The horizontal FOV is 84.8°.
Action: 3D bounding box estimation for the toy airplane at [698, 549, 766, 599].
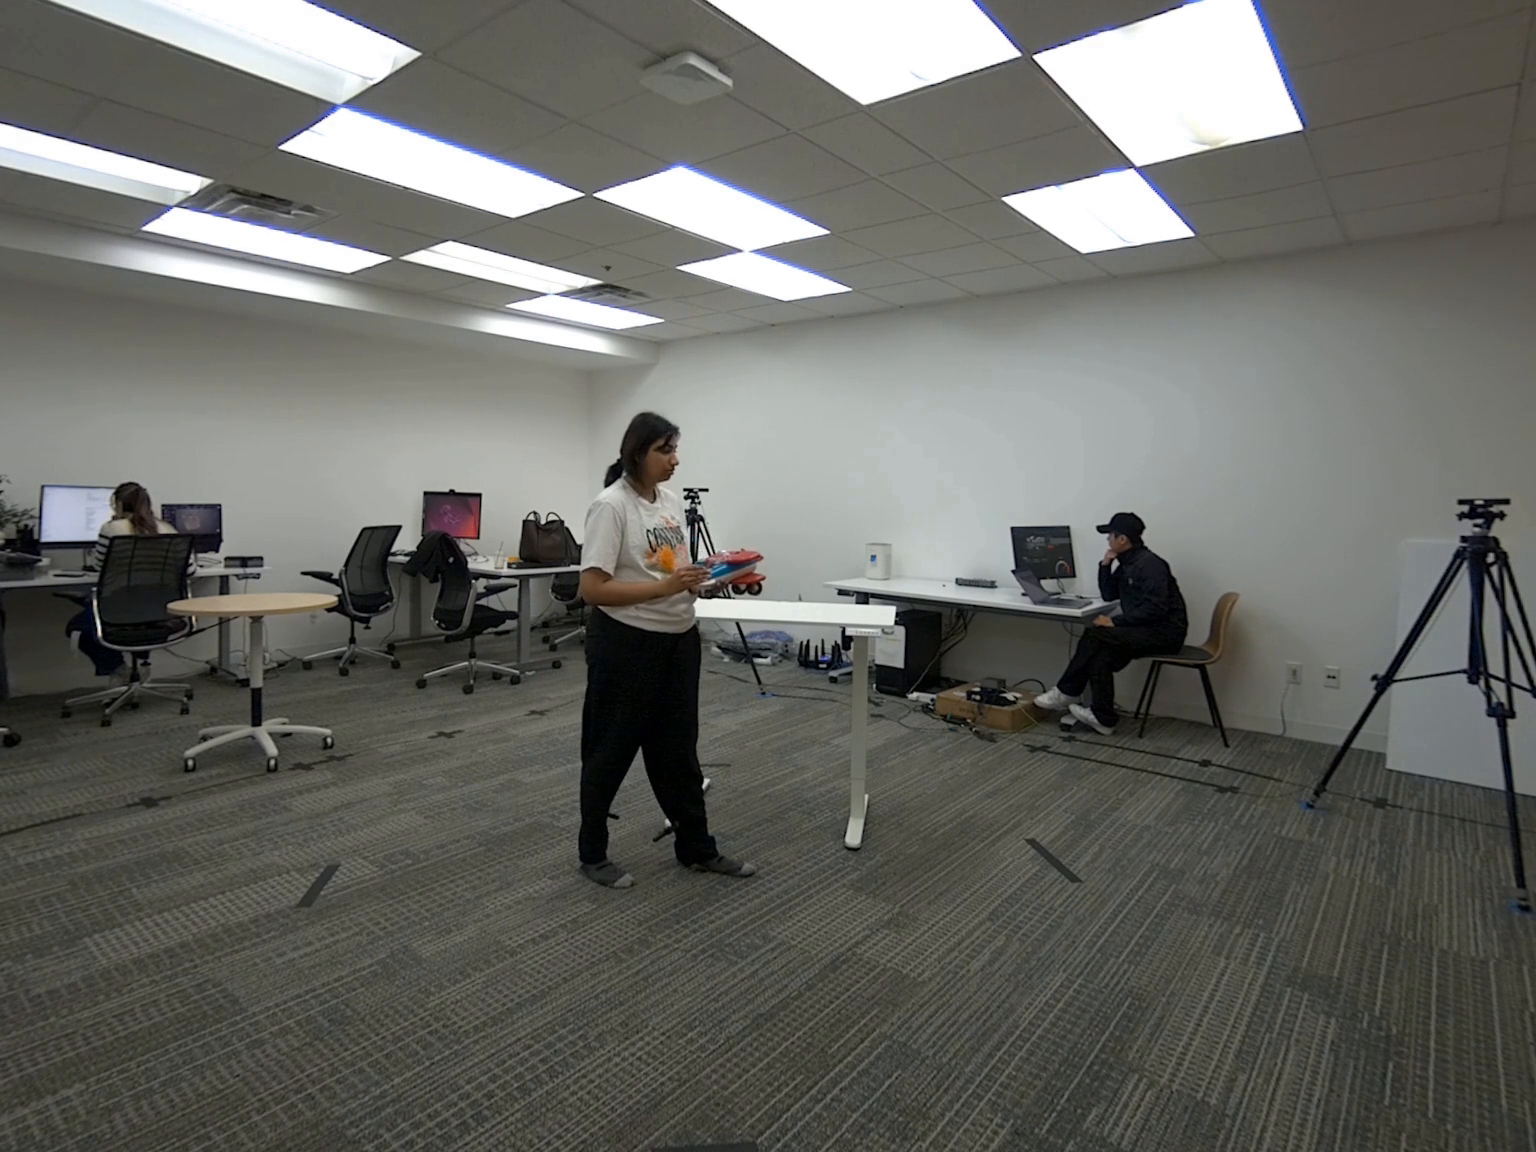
[{"bbox_3d":[-0.134,-0.004,2.912,0.257,0.156,0.254,-1,2,23],"label":"toy airplane"}]
